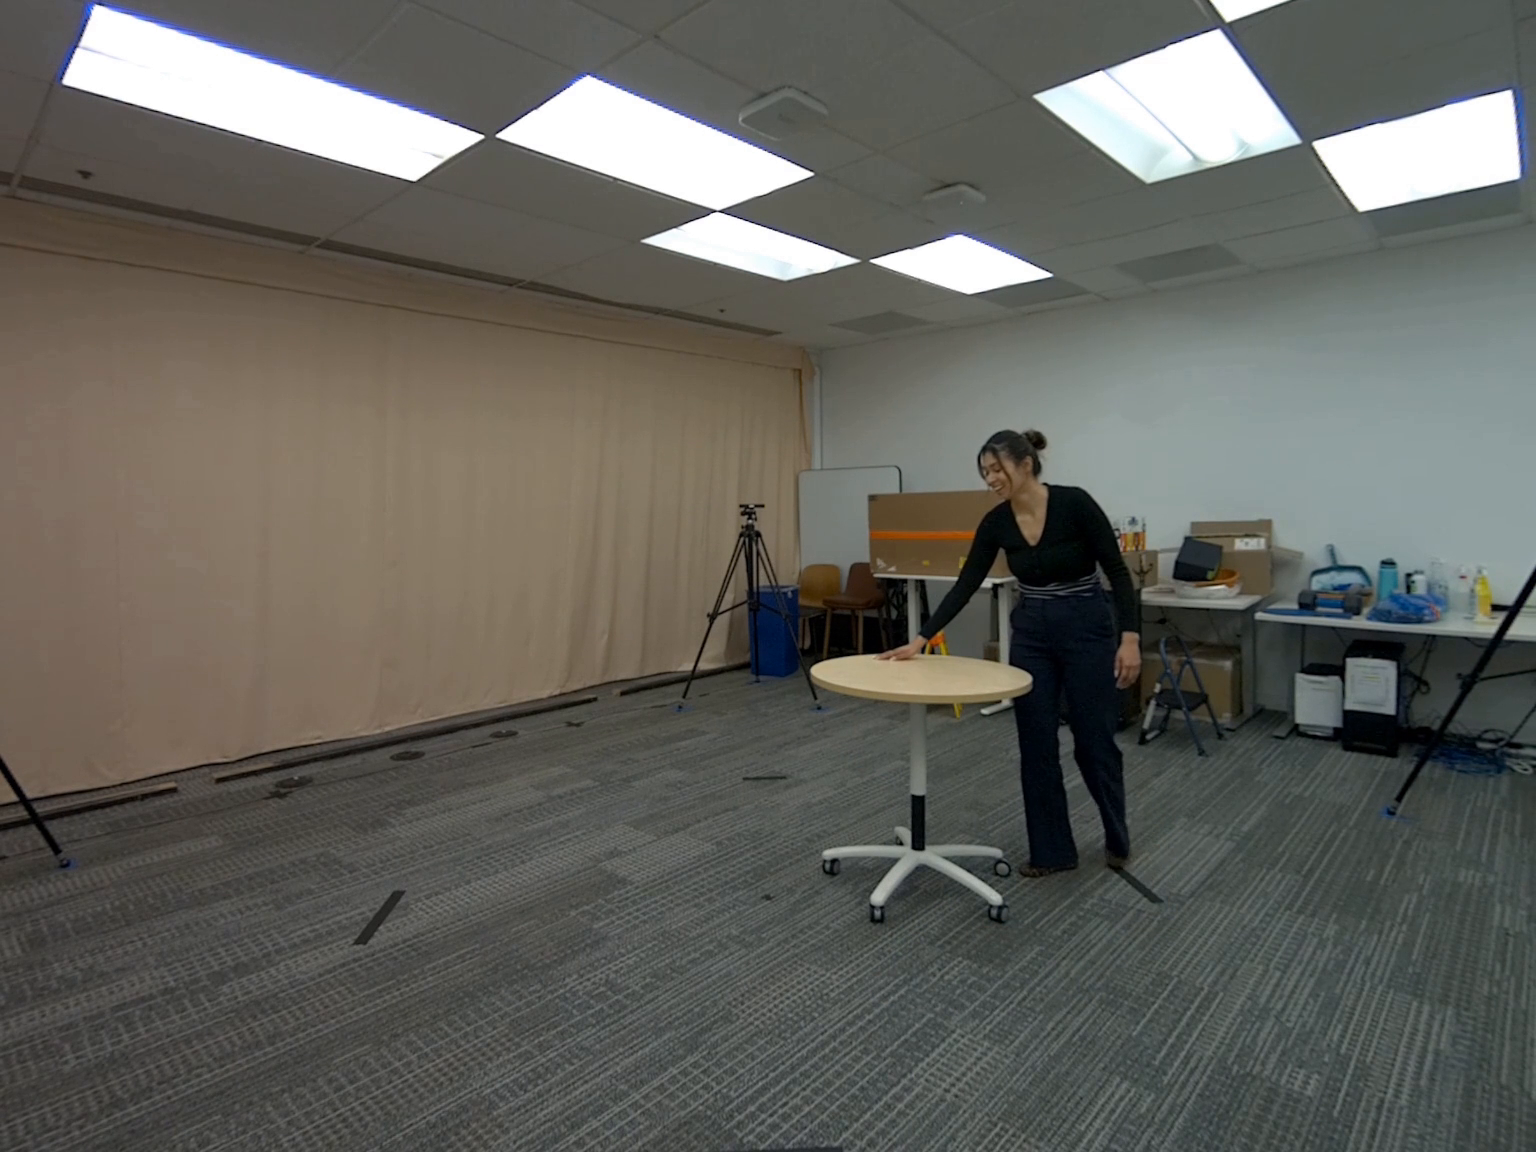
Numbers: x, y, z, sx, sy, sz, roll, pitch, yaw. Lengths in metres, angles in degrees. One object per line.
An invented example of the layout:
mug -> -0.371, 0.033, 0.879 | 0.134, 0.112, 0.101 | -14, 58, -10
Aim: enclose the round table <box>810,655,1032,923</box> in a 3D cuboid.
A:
round table -> 0.546, 0.738, 3.026 | 0.763, 0.792, 0.766 | -1, 3, -2
